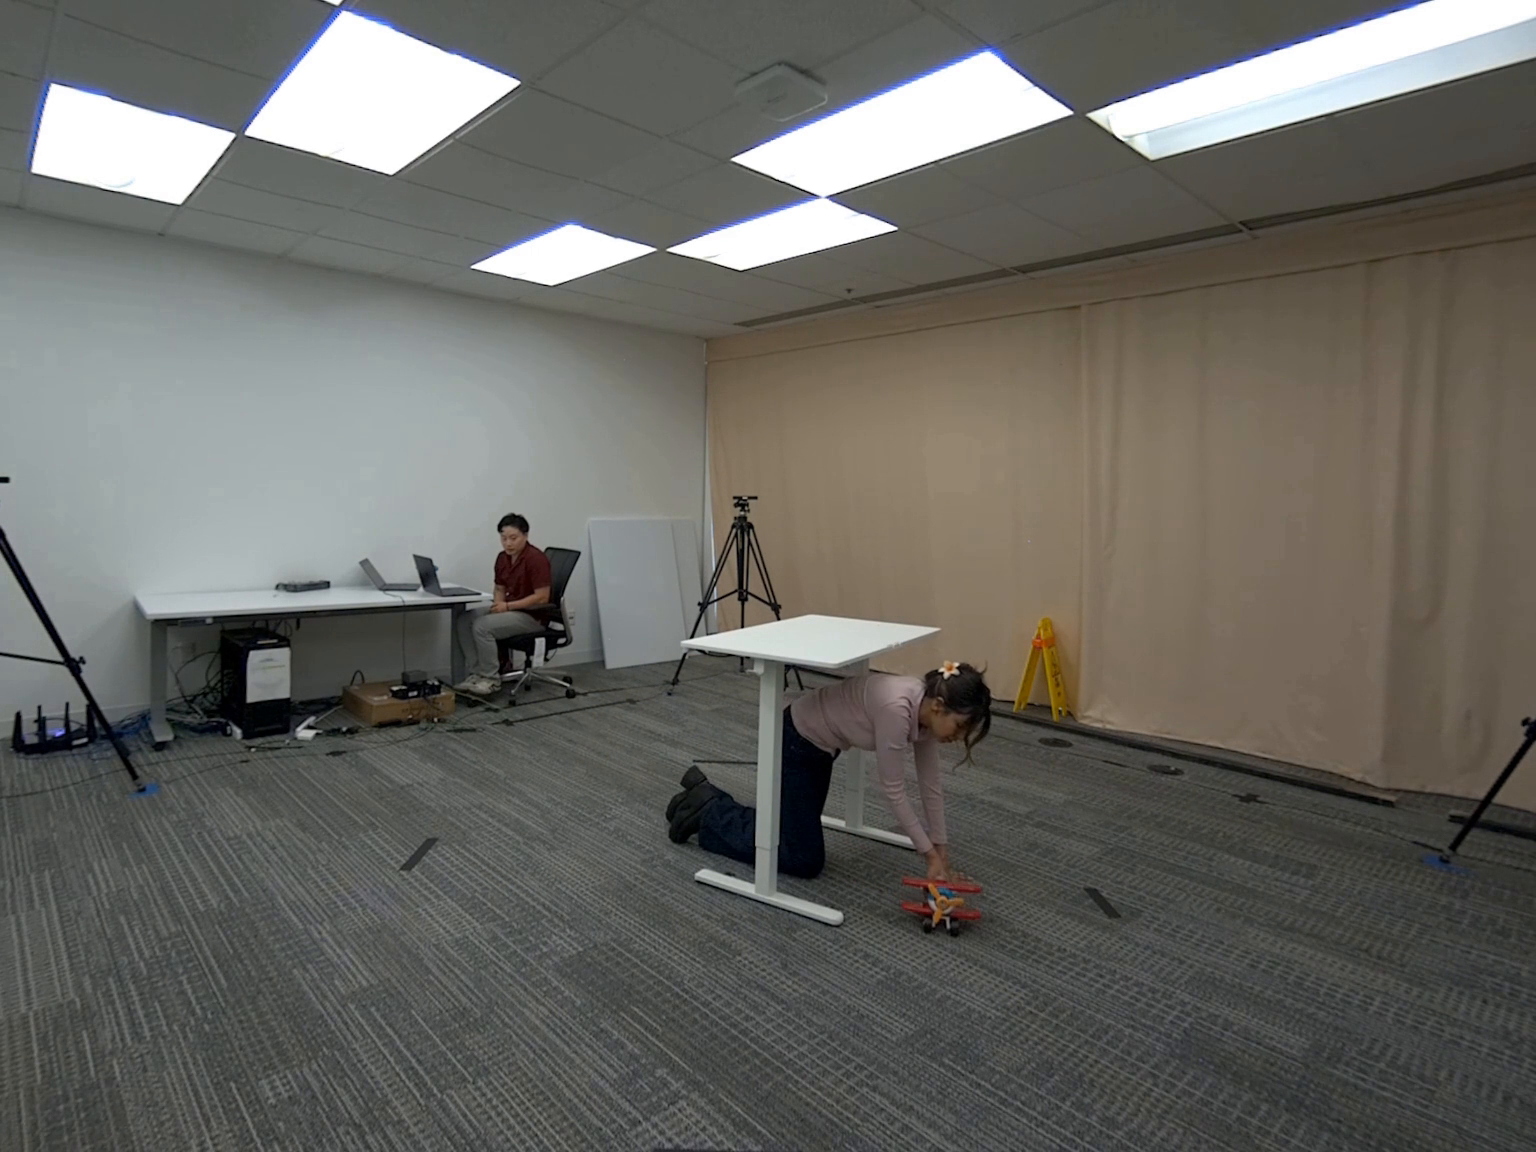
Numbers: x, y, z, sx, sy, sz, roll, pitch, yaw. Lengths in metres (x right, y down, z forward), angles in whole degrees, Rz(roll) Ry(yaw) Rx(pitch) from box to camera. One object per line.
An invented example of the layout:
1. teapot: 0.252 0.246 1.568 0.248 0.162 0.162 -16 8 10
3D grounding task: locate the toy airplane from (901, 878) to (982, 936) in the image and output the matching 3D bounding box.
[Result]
1. toy airplane: 0.540 1.076 2.800 0.247 0.156 0.264 1 6 -19
